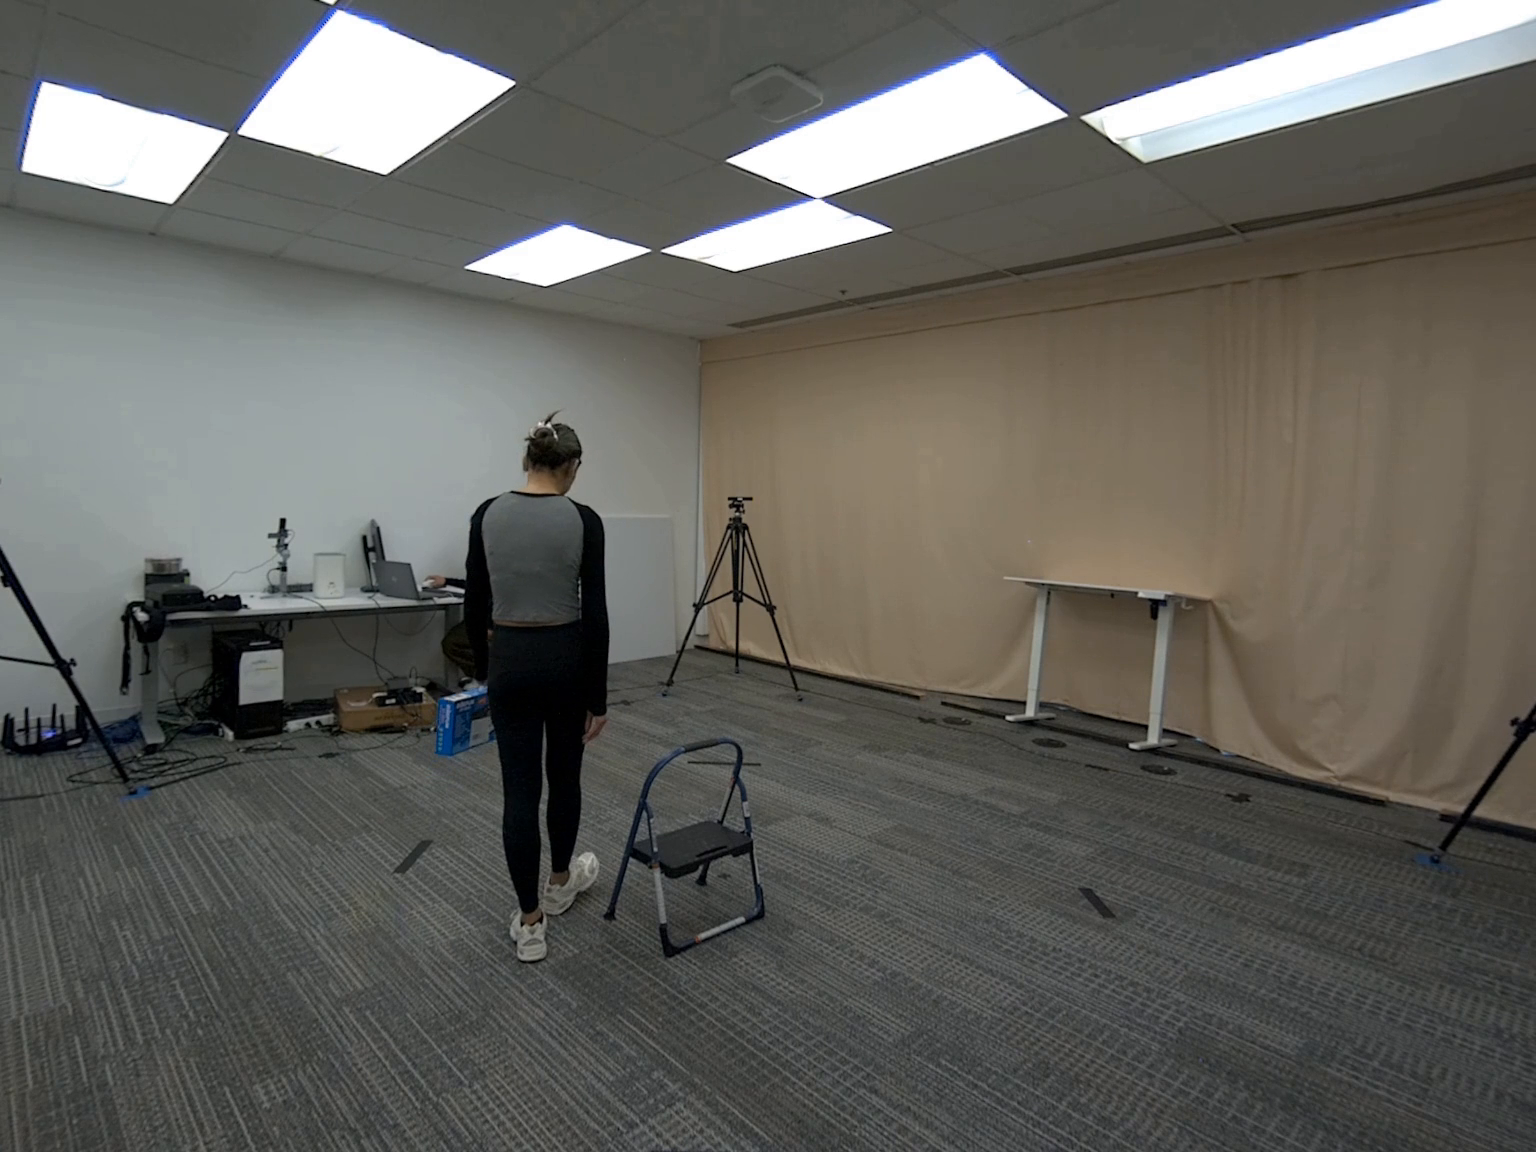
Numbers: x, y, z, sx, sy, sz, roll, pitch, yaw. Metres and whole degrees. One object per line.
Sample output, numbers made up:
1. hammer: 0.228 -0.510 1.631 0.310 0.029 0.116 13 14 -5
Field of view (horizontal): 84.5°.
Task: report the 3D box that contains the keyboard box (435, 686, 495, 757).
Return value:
1. keyboard box: -0.929 0.458 2.793 0.060 0.176 0.431 5 1 15
